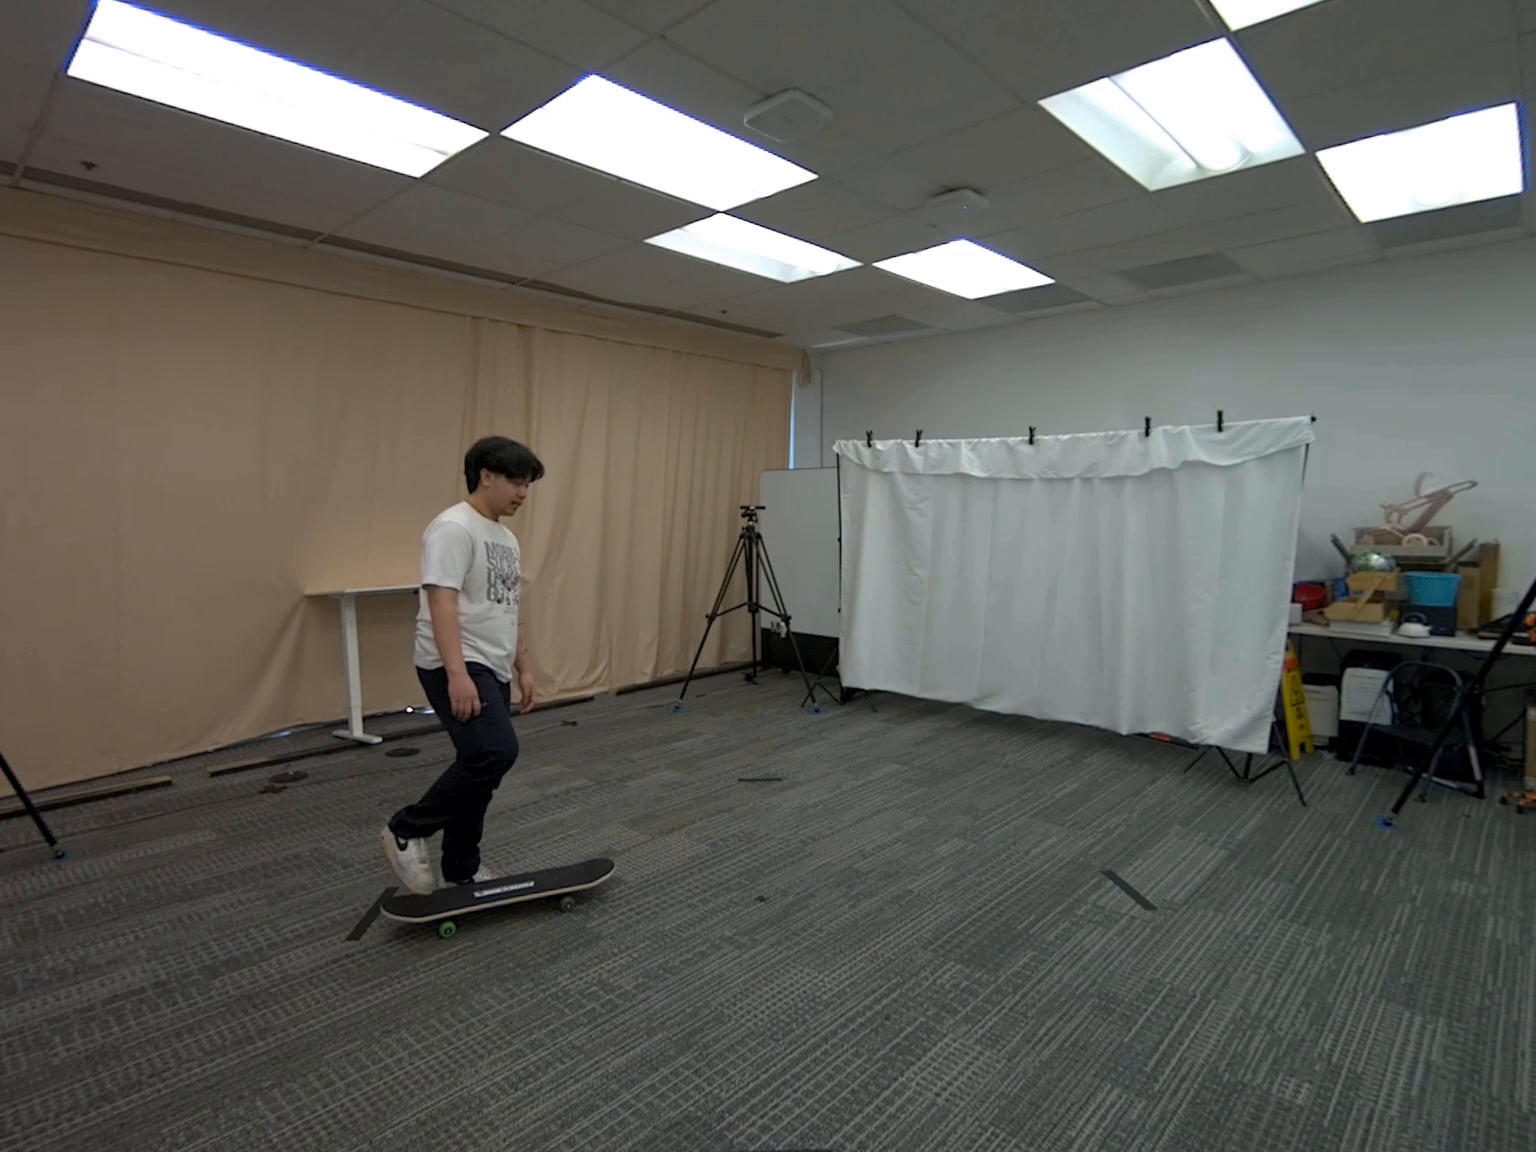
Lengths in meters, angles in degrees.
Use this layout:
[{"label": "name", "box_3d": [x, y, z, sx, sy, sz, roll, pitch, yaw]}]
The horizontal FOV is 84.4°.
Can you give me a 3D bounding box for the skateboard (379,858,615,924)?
[{"label": "skateboard", "box_3d": [-0.904, 1.107, 2.877, 0.767, 0.110, 0.198, -3, 5, -25]}]
